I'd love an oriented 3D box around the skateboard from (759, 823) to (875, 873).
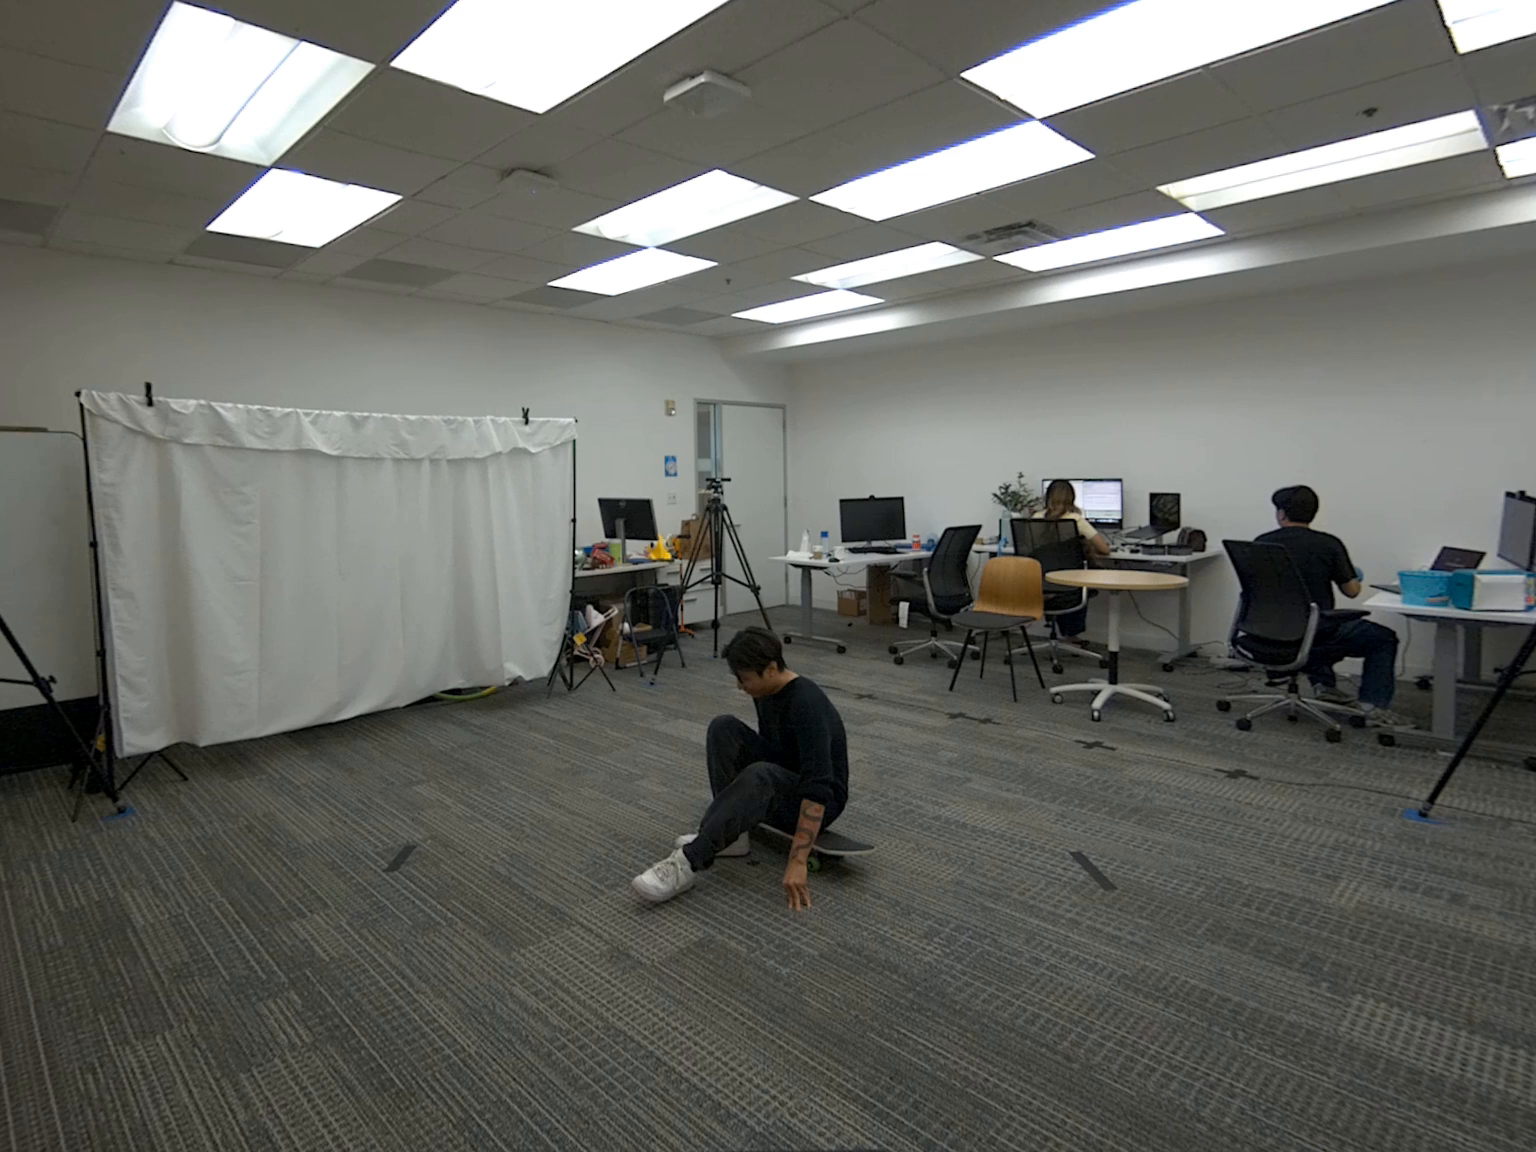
[{"bbox_3d":[0.077,0.983,3.231,0.187,0.110,0.809,6,0,-40],"label":"skateboard"}]
